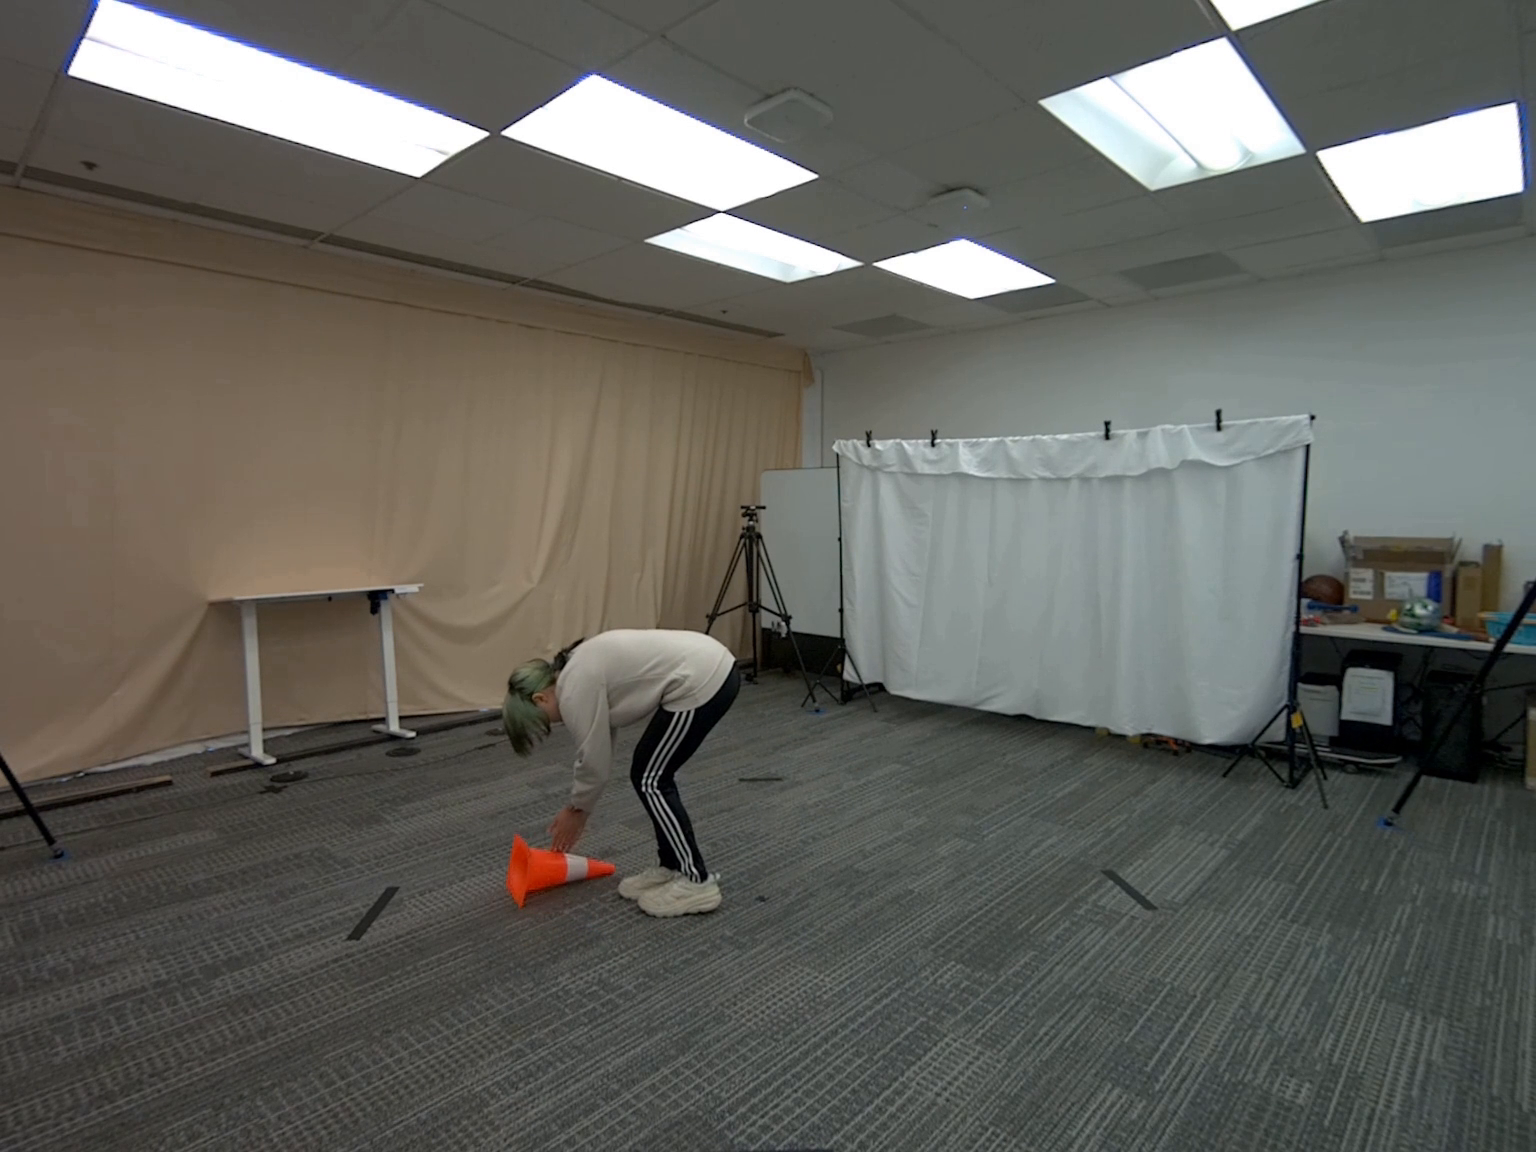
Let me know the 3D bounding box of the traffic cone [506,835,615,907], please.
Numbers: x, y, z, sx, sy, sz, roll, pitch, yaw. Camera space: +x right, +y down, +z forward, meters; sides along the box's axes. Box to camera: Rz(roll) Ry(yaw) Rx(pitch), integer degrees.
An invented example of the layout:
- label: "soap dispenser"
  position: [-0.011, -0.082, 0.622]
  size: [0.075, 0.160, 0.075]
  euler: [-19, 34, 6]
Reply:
- label: "traffic cone"
  position: [-0.738, 1.079, 3.106]
  size: [0.371, 0.205, 0.210]
  euler: [12, 1, -34]
